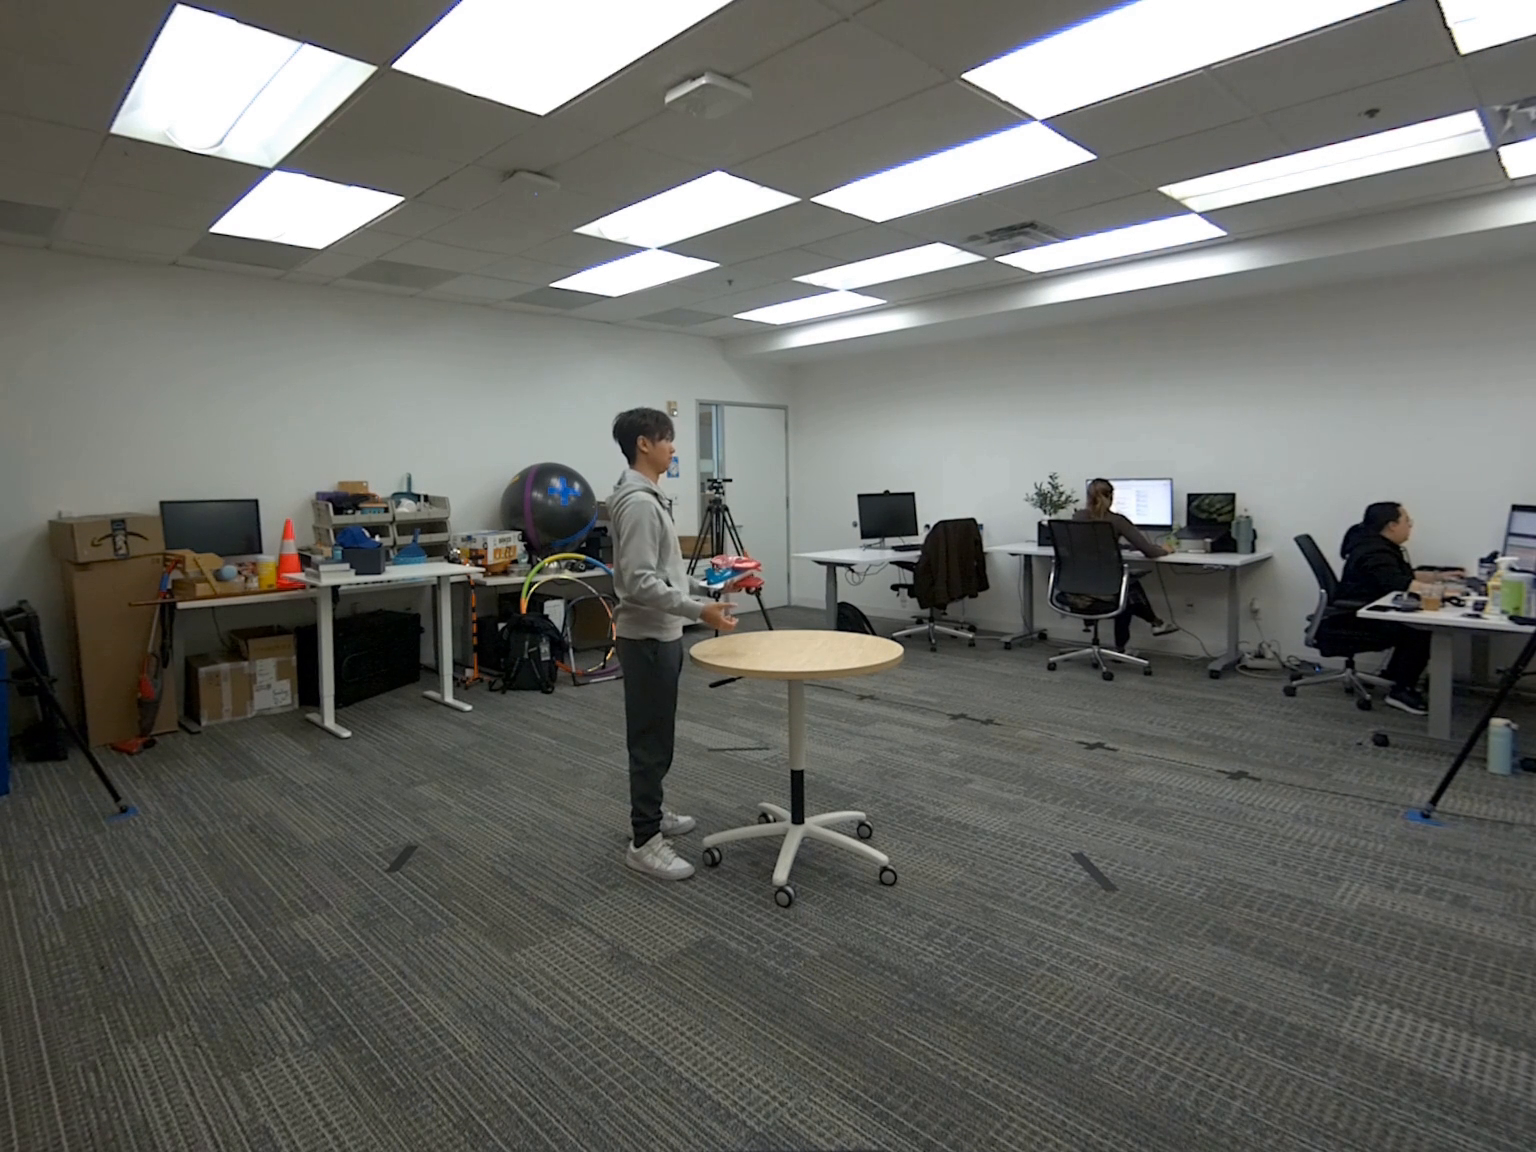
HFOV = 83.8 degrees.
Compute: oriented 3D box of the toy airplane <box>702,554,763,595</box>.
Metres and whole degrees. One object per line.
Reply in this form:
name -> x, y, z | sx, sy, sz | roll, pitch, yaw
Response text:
toy airplane -> -0.126, -0.008, 3.473 | 0.255, 0.155, 0.257 | 2, 8, 14
